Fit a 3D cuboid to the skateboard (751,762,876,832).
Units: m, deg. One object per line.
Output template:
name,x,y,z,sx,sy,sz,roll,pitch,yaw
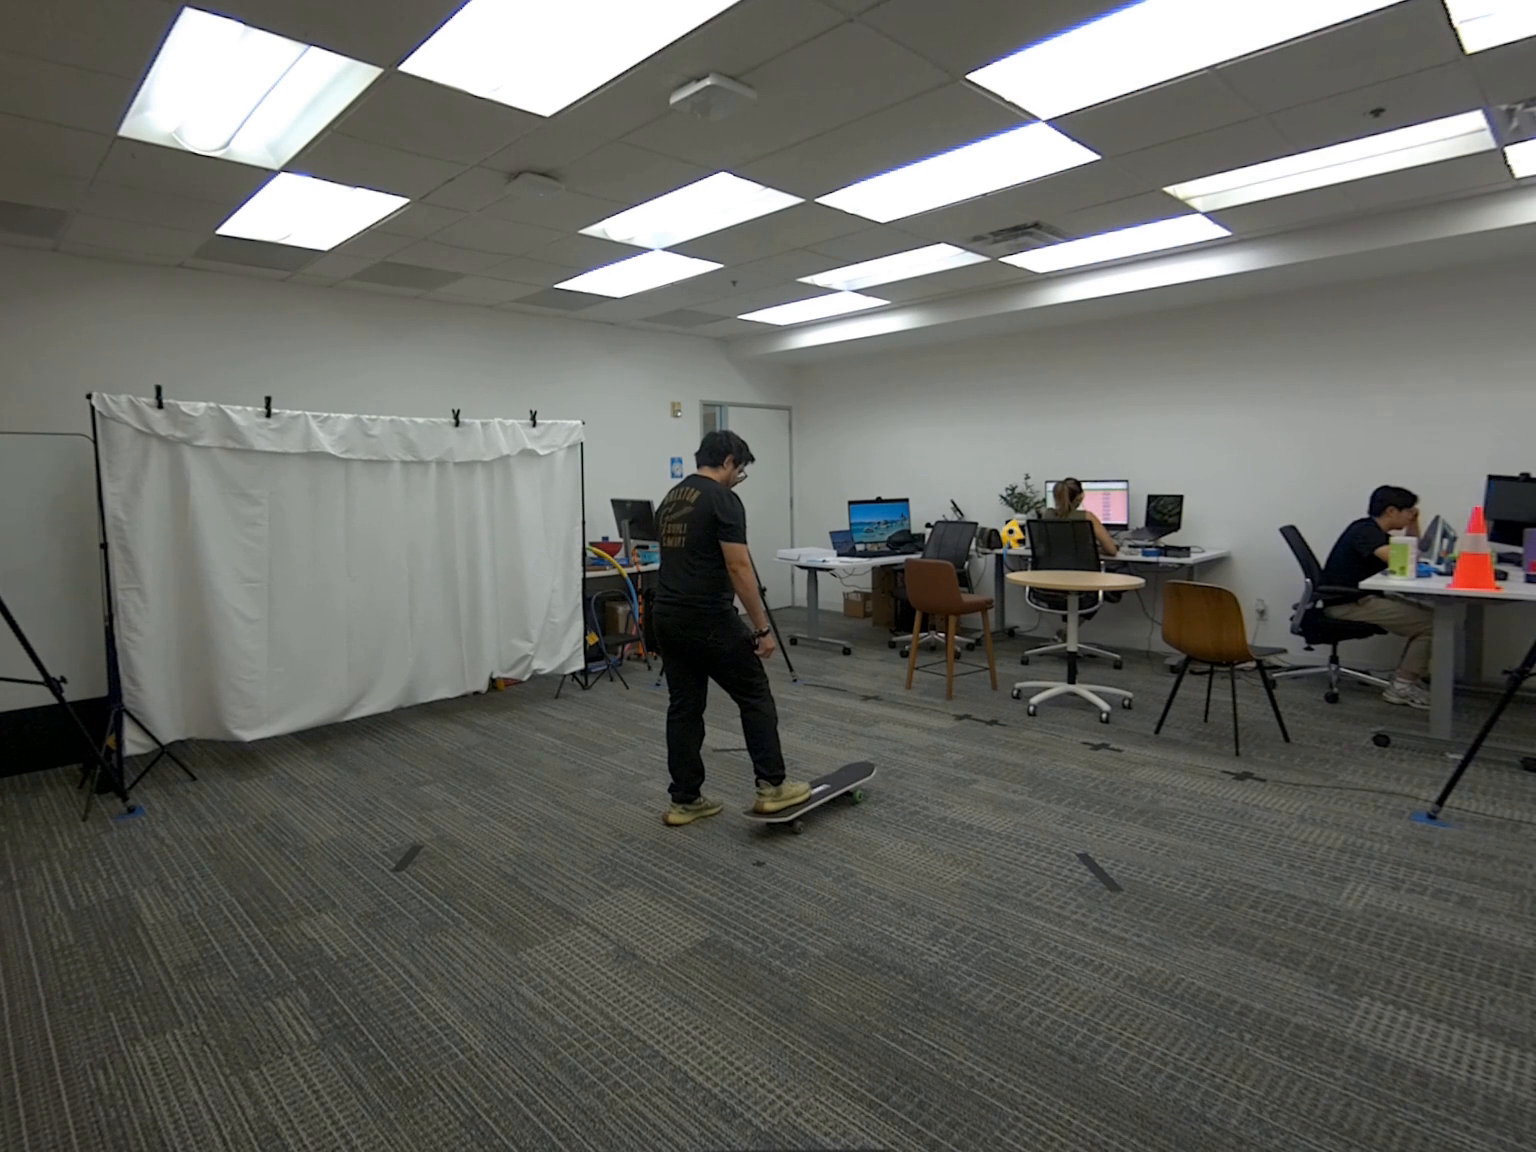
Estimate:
skateboard,0.192,0.936,3.574,0.199,0.110,0.766,-2,5,43
